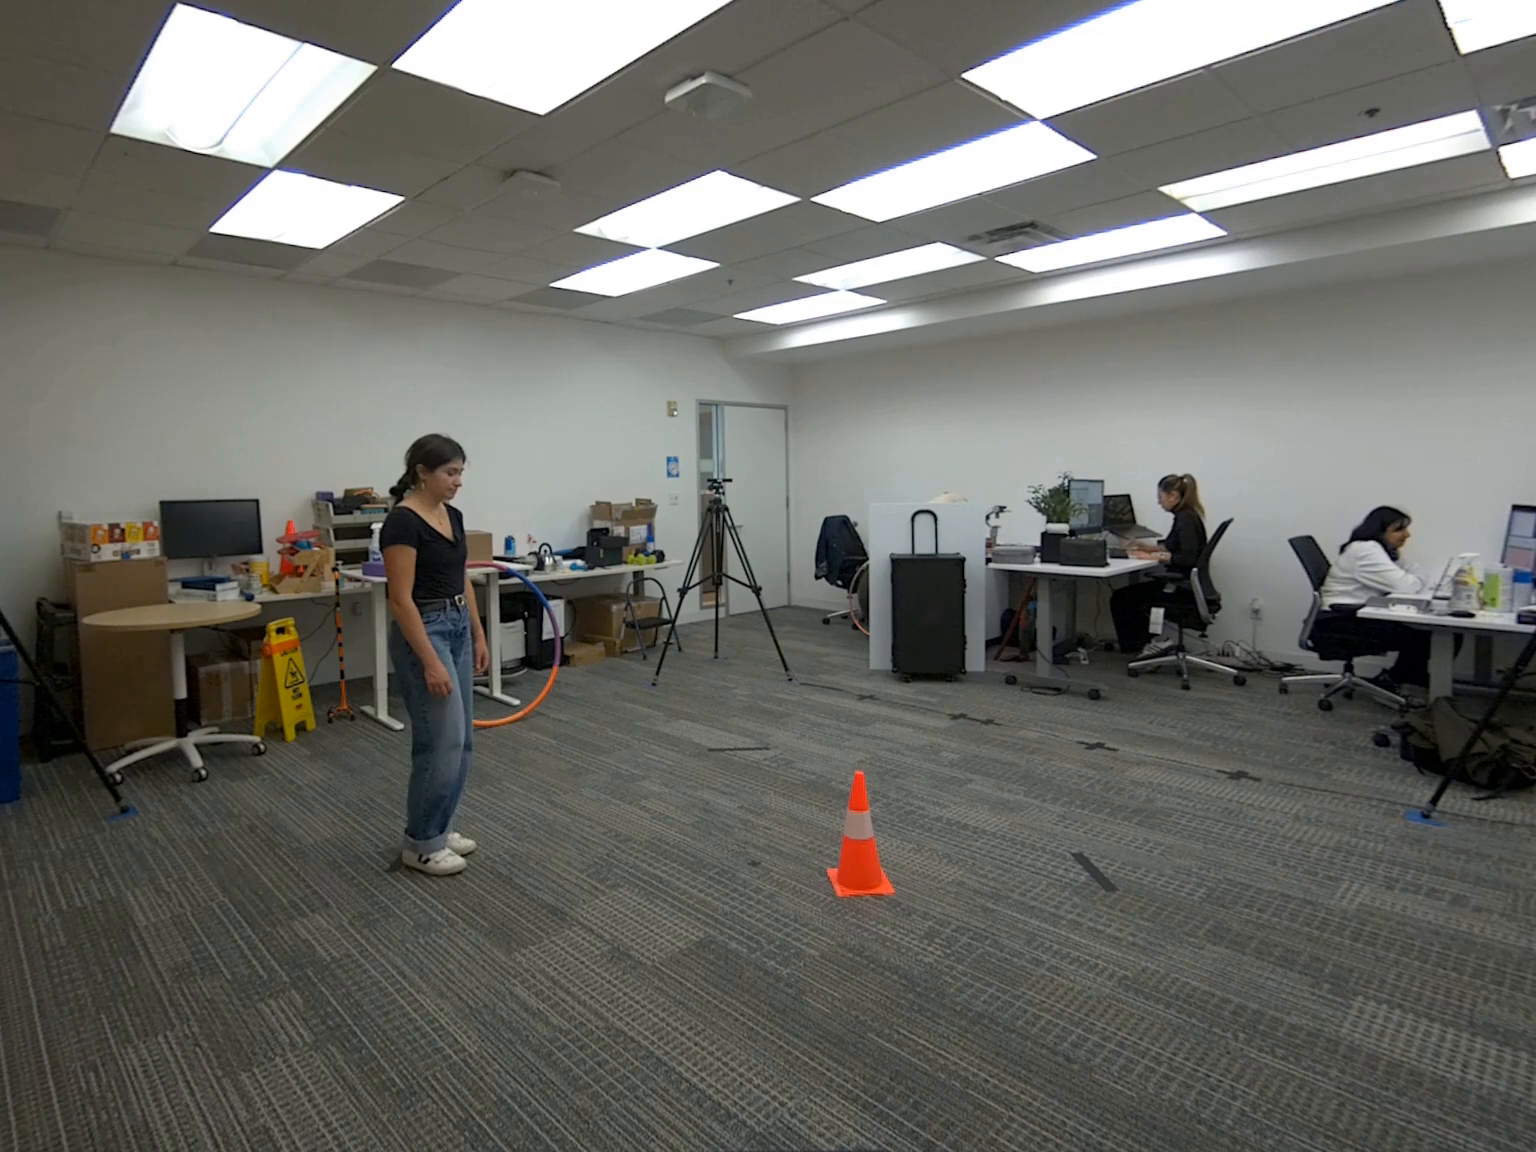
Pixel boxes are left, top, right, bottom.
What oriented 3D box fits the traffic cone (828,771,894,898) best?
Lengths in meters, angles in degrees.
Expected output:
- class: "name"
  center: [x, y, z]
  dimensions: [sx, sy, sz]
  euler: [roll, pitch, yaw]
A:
- class: "traffic cone"
  center: [0.307, 0.867, 2.943]
  dimensions: [0.204, 0.382, 0.205]
  euler: [-3, 3, -6]
